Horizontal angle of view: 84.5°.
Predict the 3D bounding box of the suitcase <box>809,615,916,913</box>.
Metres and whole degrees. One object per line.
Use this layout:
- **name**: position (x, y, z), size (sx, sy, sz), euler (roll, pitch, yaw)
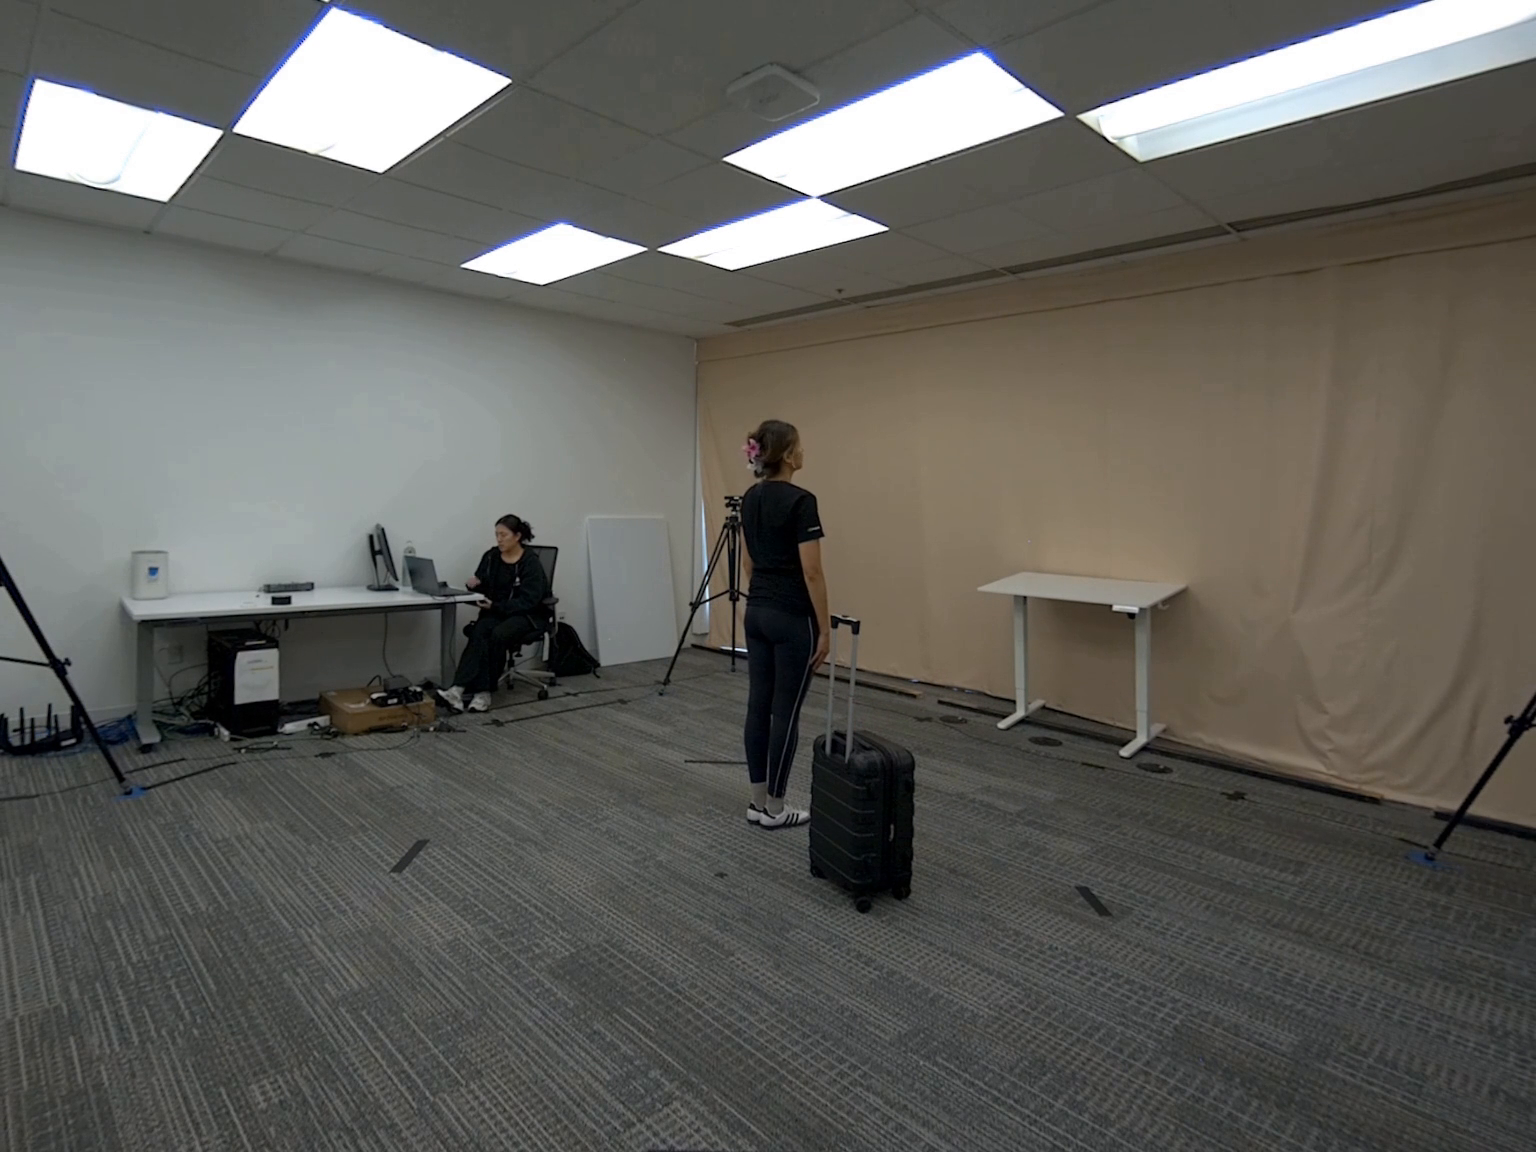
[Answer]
- **suitcase**: position (0.349, 0.648, 3.010), size (0.252, 0.977, 0.391), euler (2, 3, -23)
